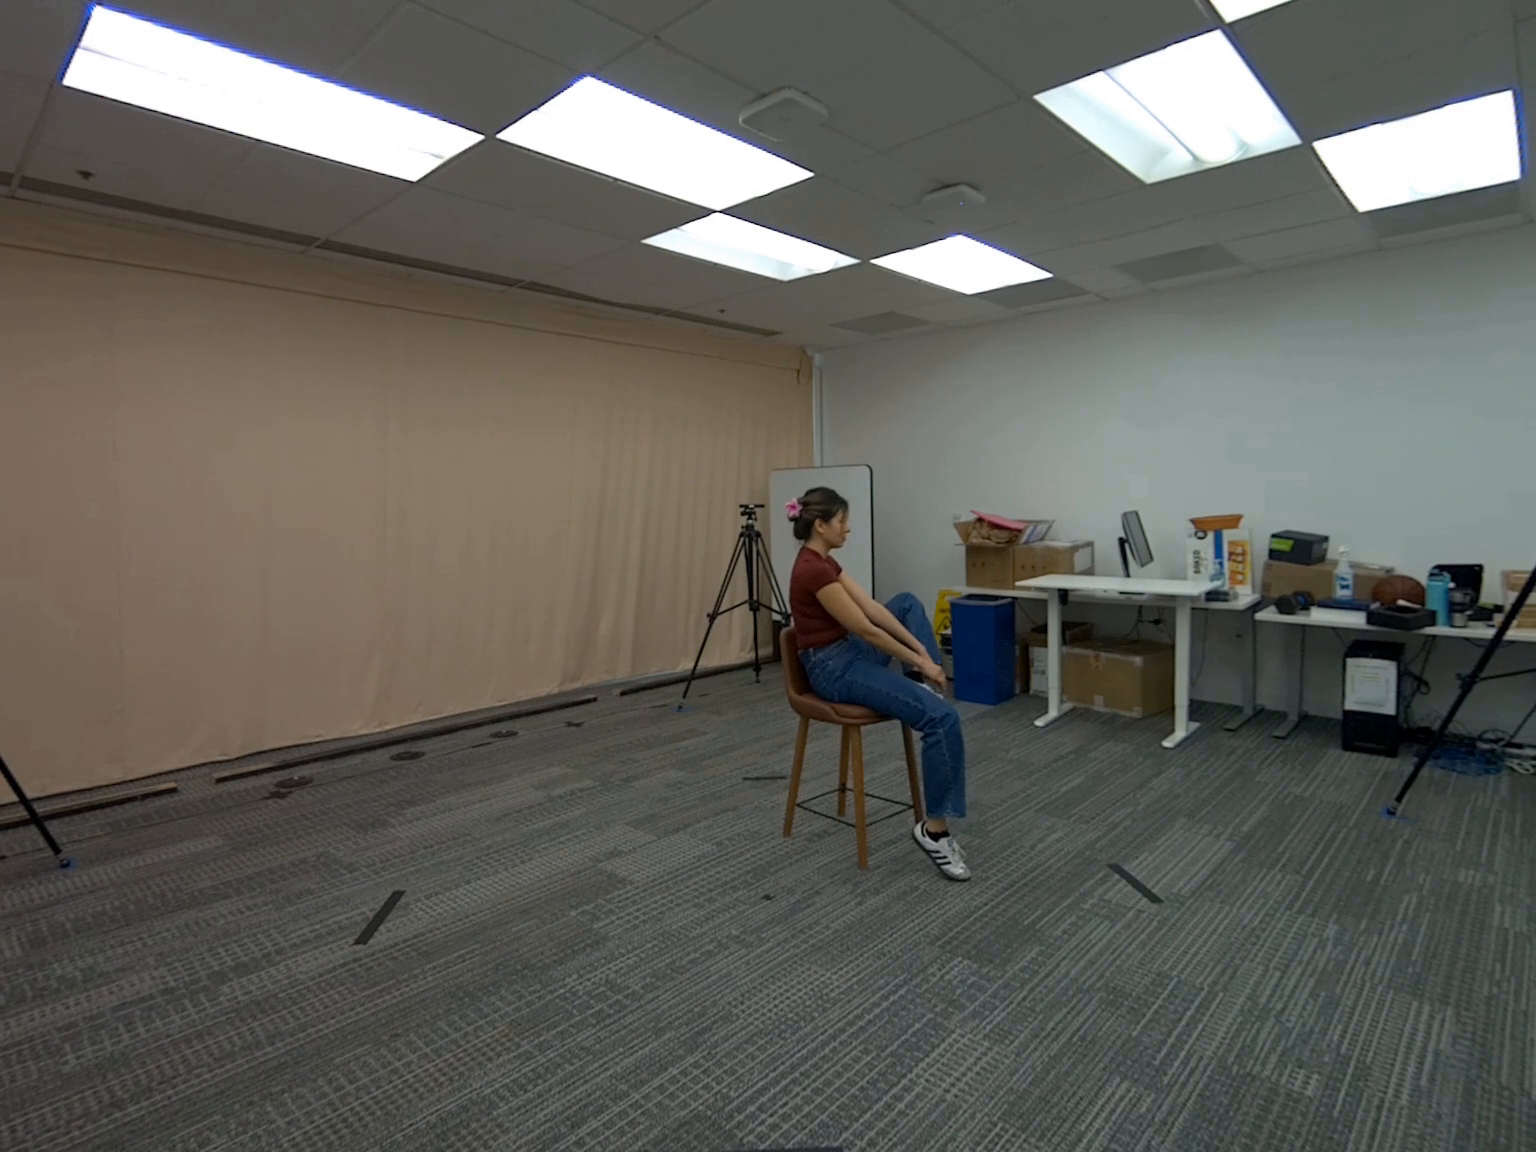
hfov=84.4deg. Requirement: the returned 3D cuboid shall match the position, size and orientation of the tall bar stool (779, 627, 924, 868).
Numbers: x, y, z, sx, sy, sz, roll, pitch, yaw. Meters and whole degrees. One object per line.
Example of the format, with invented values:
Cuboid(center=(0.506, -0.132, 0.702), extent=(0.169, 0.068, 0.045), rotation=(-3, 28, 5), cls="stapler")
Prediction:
Cuboid(center=(0.342, 0.657, 3.483), extent=(0.442, 0.889, 0.482), rotation=(-2, 2, -43), cls="tall bar stool")
